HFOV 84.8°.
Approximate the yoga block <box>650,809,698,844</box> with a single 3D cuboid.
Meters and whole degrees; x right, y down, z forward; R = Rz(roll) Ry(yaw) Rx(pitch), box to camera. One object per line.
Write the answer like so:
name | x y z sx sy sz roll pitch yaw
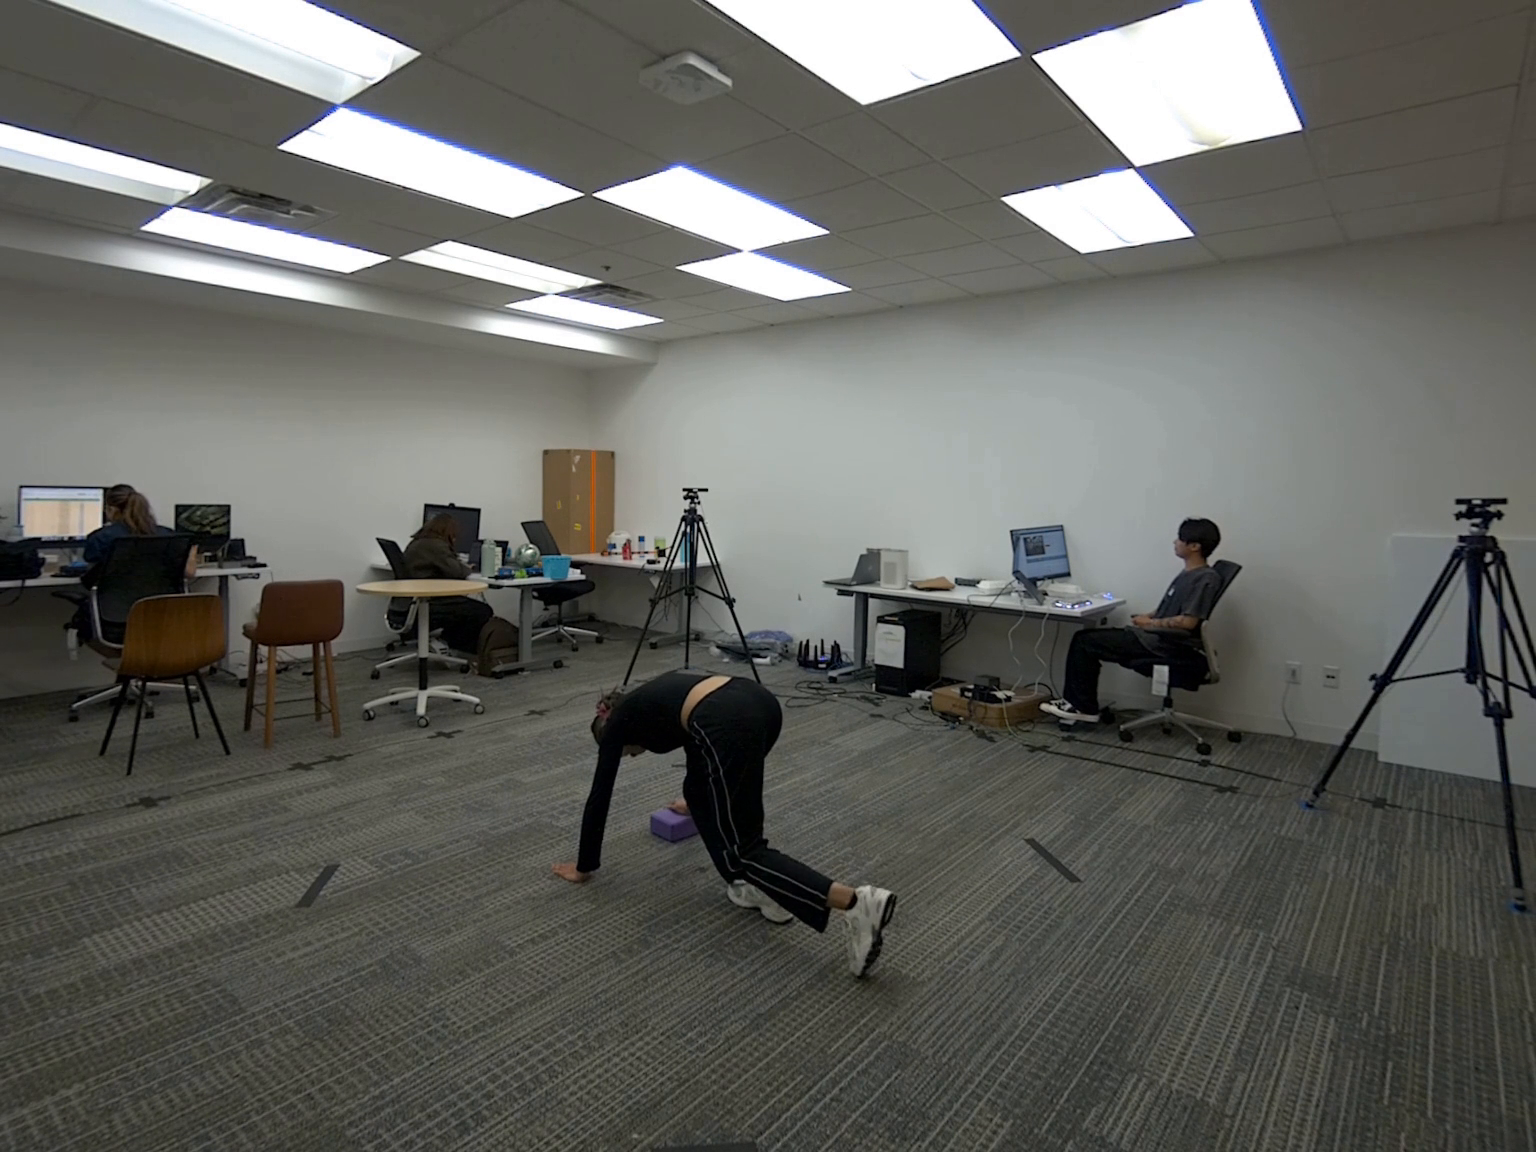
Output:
yoga block | -0.359 0.994 3.458 0.222 0.076 0.154 -3 6 -44
